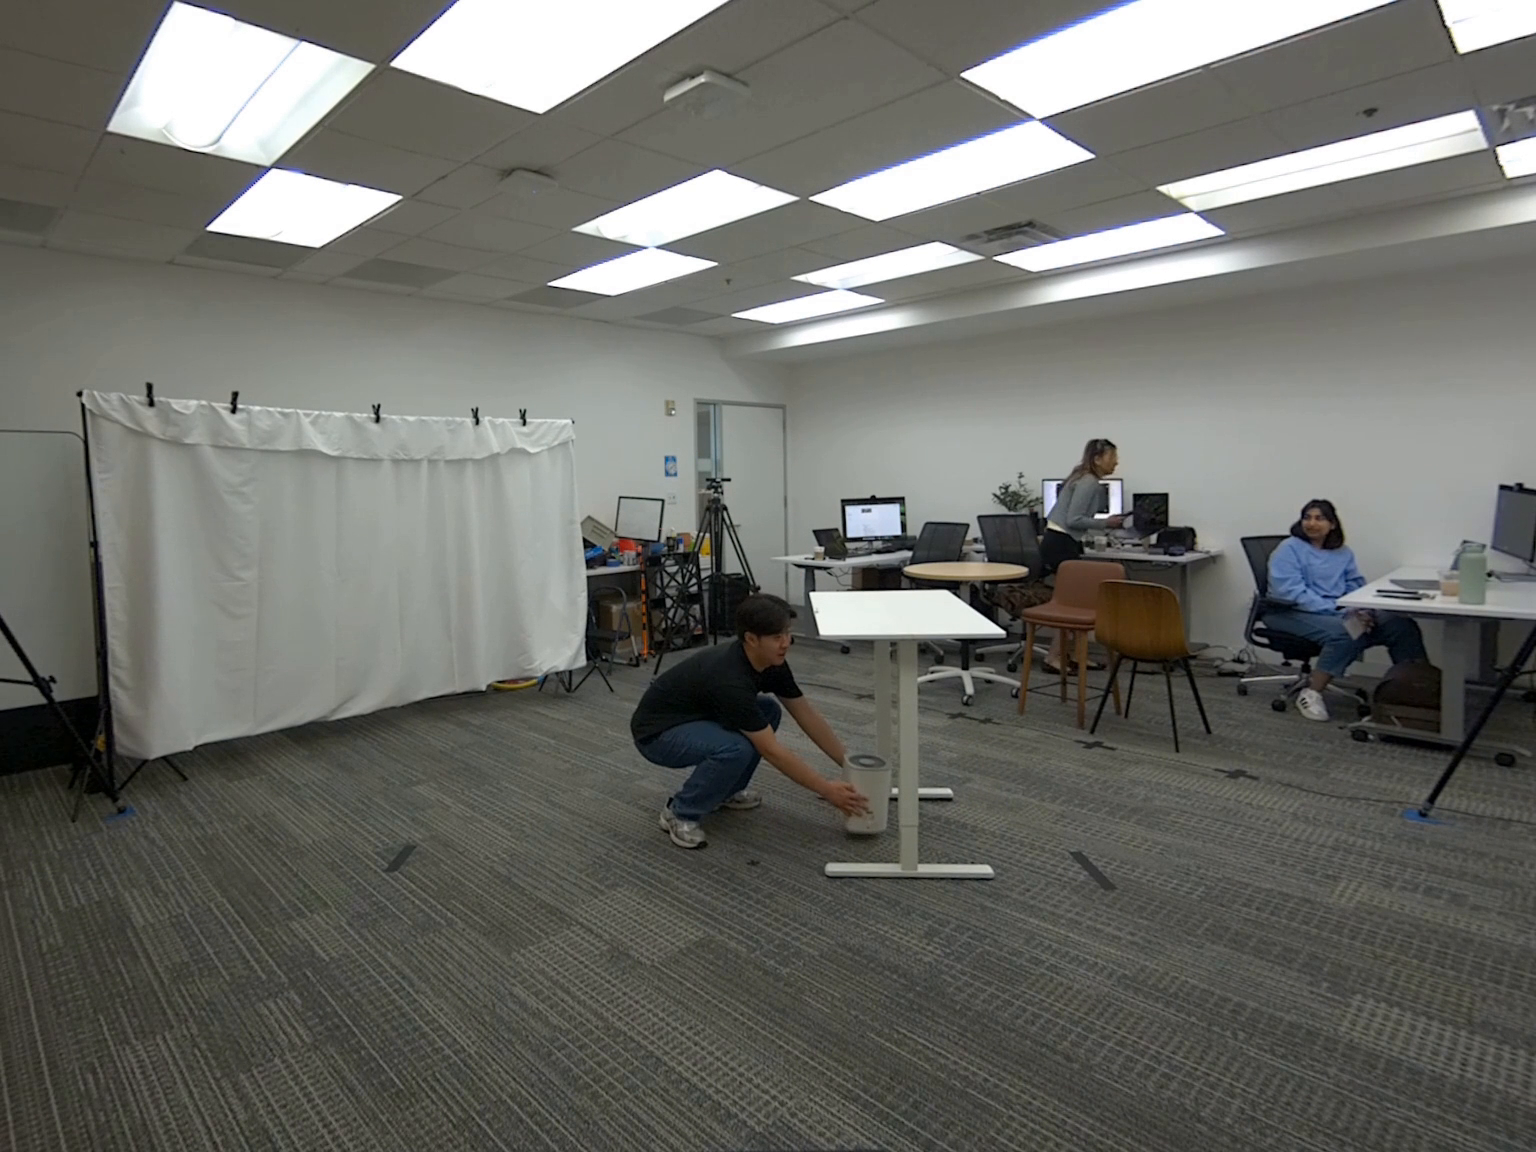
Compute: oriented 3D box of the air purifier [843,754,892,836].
[{"bbox_3d":[0.371,0.843,3.322,0.170,0.264,0.173,3,7,-5],"label":"air purifier"}]
